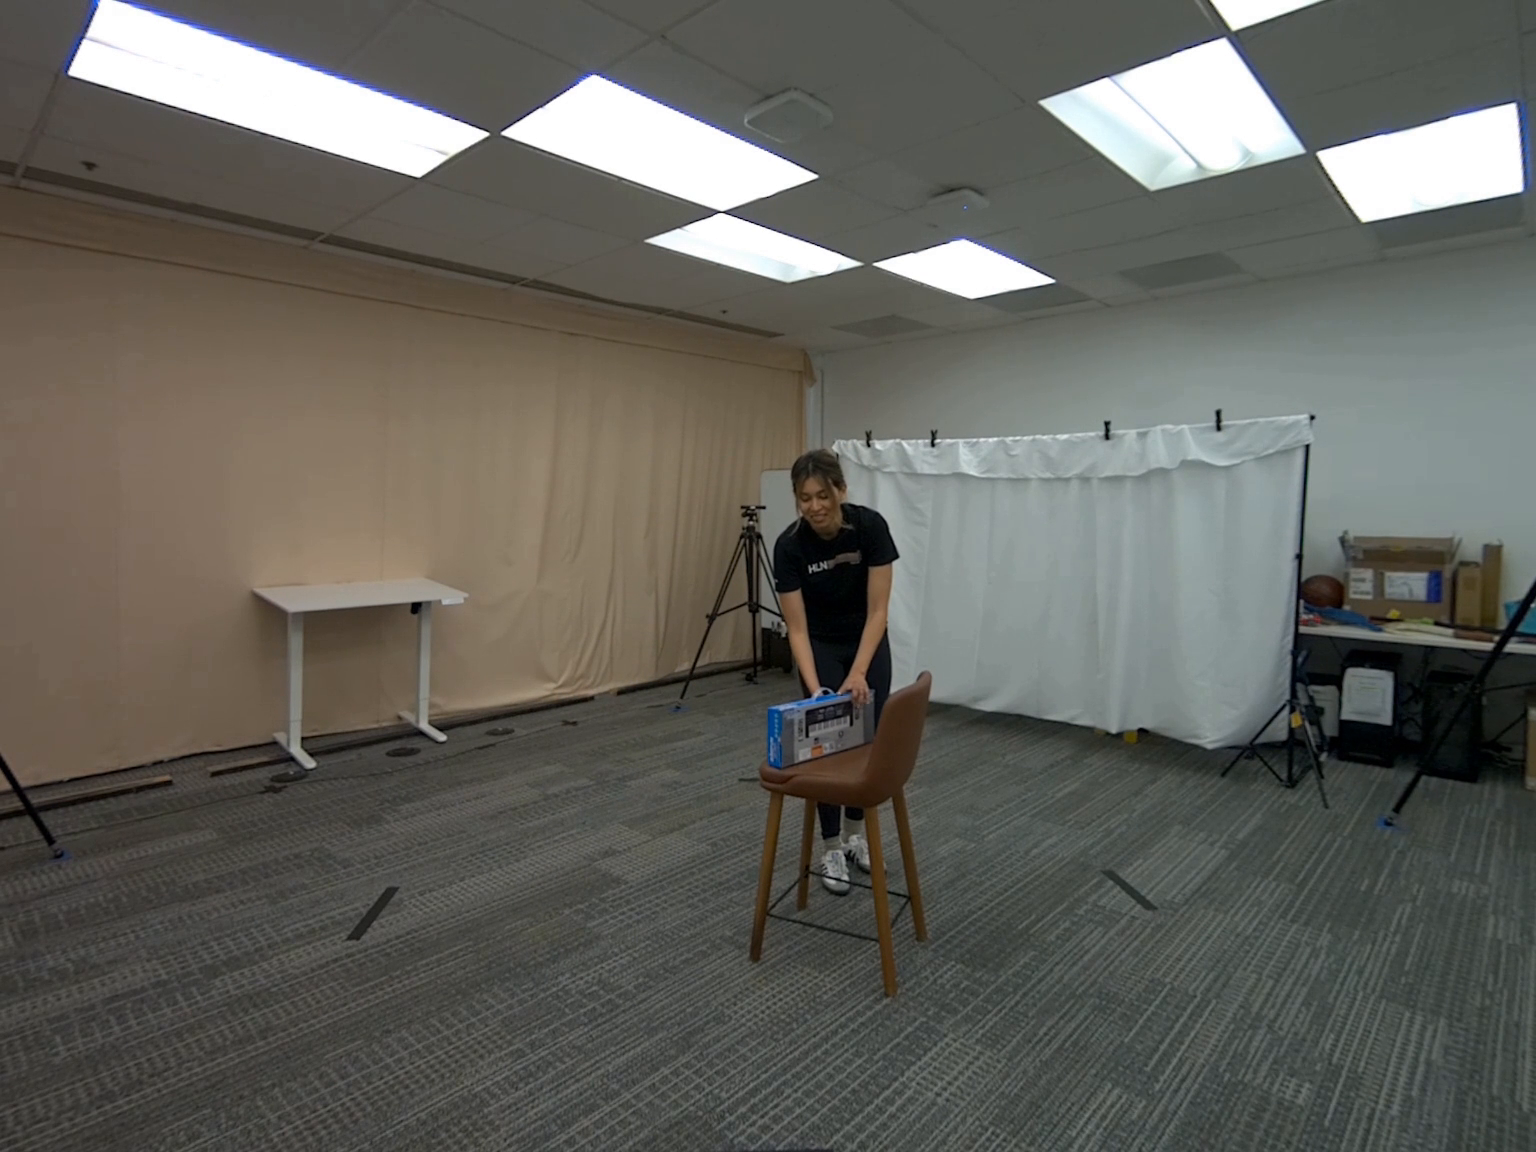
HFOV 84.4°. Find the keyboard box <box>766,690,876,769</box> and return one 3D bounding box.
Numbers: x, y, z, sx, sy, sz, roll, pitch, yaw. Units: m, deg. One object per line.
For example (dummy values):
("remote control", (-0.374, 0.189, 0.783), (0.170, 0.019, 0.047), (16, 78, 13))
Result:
("keyboard box", (0.172, 0.471, 2.651), (0.423, 0.176, 0.061), (-3, 4, -43))
